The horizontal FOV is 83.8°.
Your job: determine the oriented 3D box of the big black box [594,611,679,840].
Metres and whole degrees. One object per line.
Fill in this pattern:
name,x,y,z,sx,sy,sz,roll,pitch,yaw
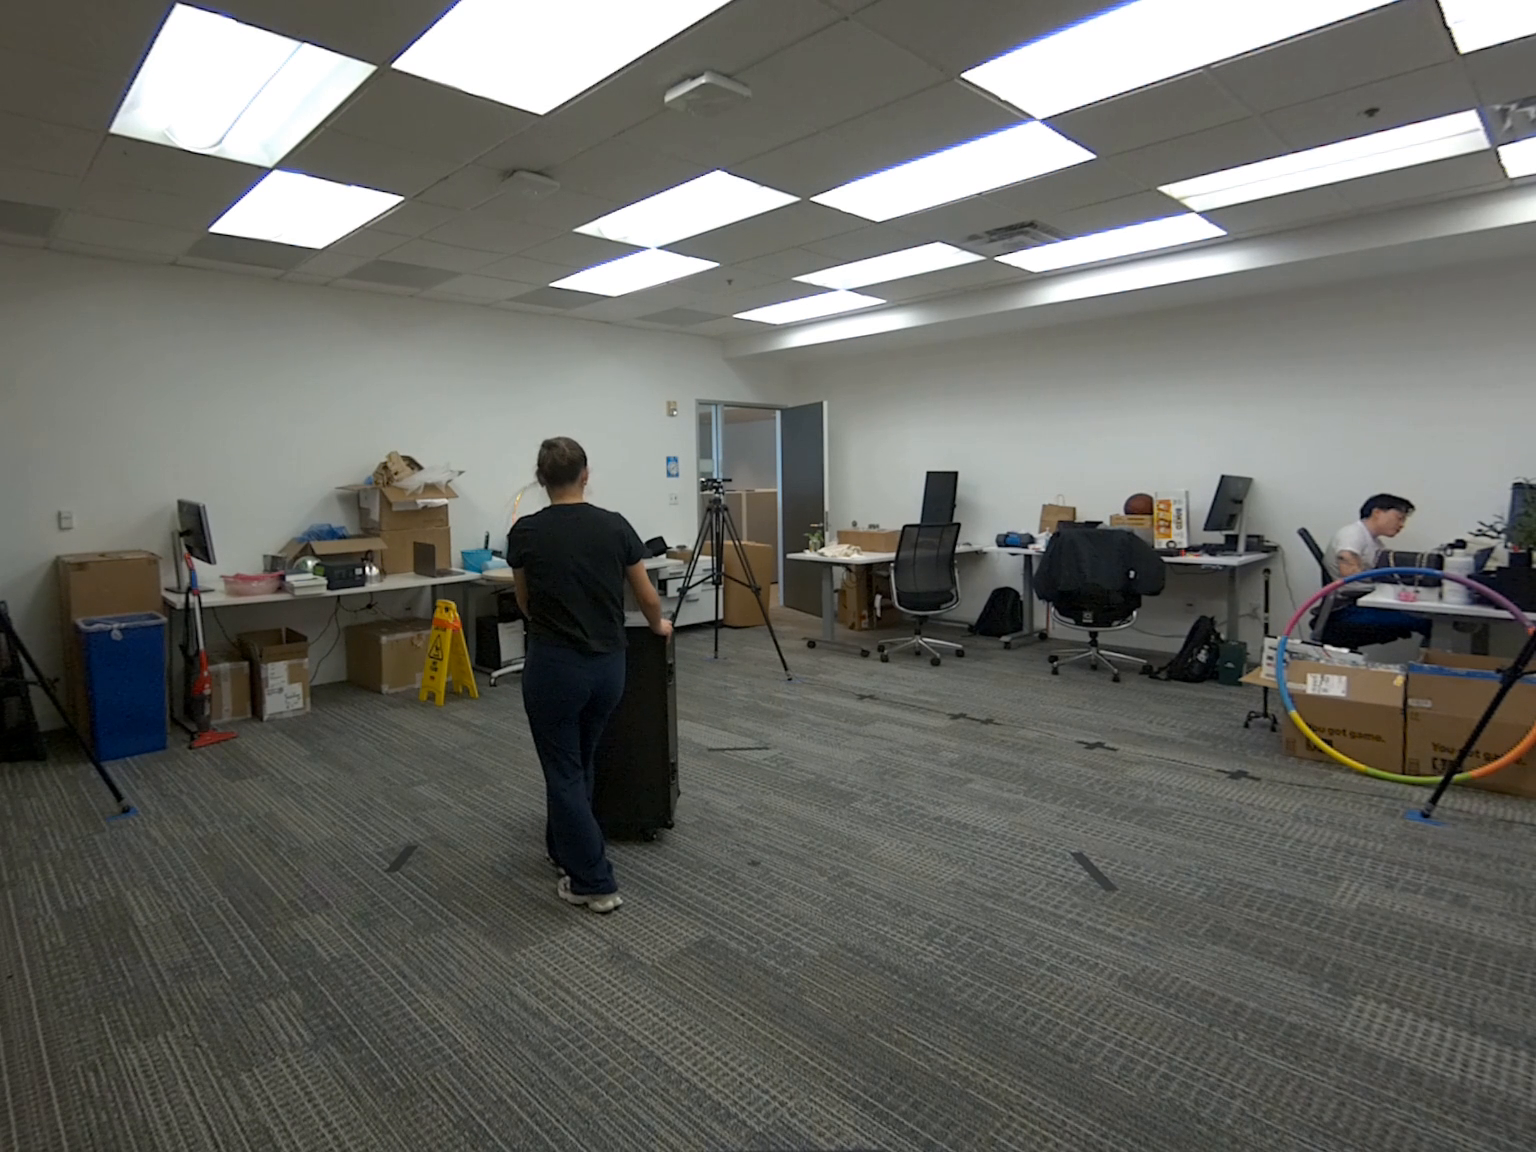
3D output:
big black box,-0.623,0.594,3.440,0.522,0.859,0.397,-1,3,1
